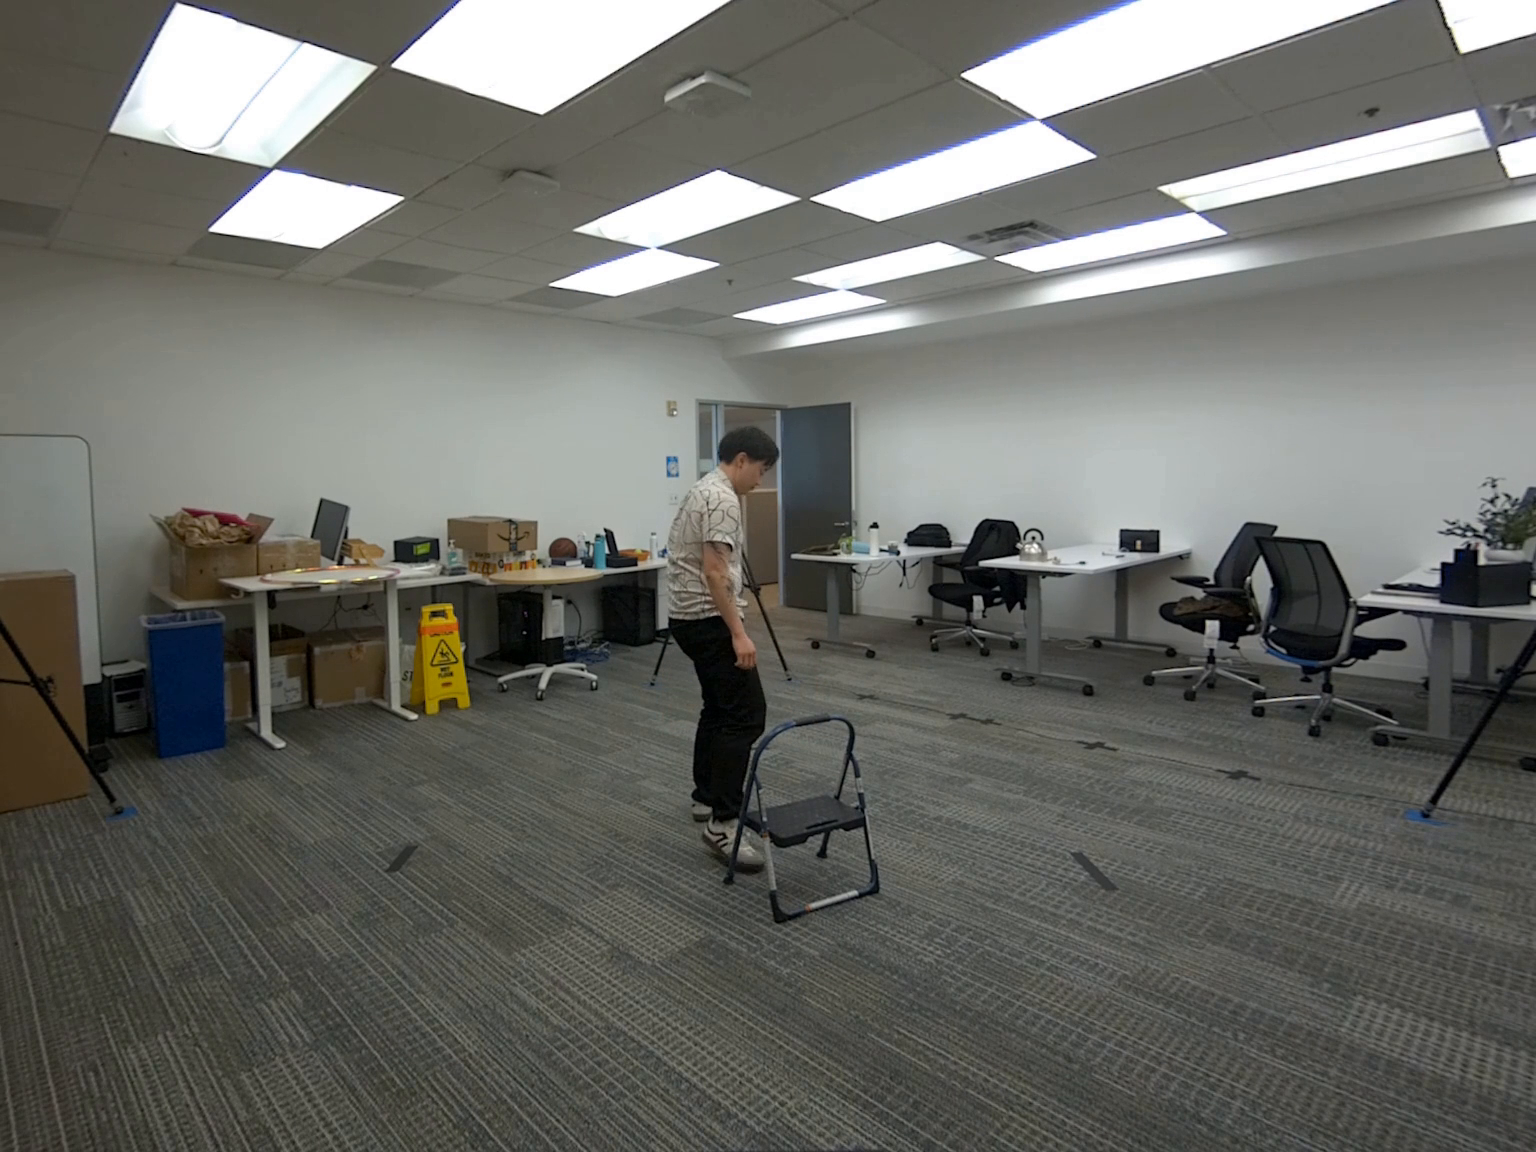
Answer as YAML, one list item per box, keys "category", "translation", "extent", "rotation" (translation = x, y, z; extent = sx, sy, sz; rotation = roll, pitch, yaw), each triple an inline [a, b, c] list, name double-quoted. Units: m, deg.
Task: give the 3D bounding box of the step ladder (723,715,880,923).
- category: "step ladder"
  translation: [0.110, 0.759, 2.904]
  extent: [0.420, 0.604, 0.359]
  rotation: [-3, 5, -31]
